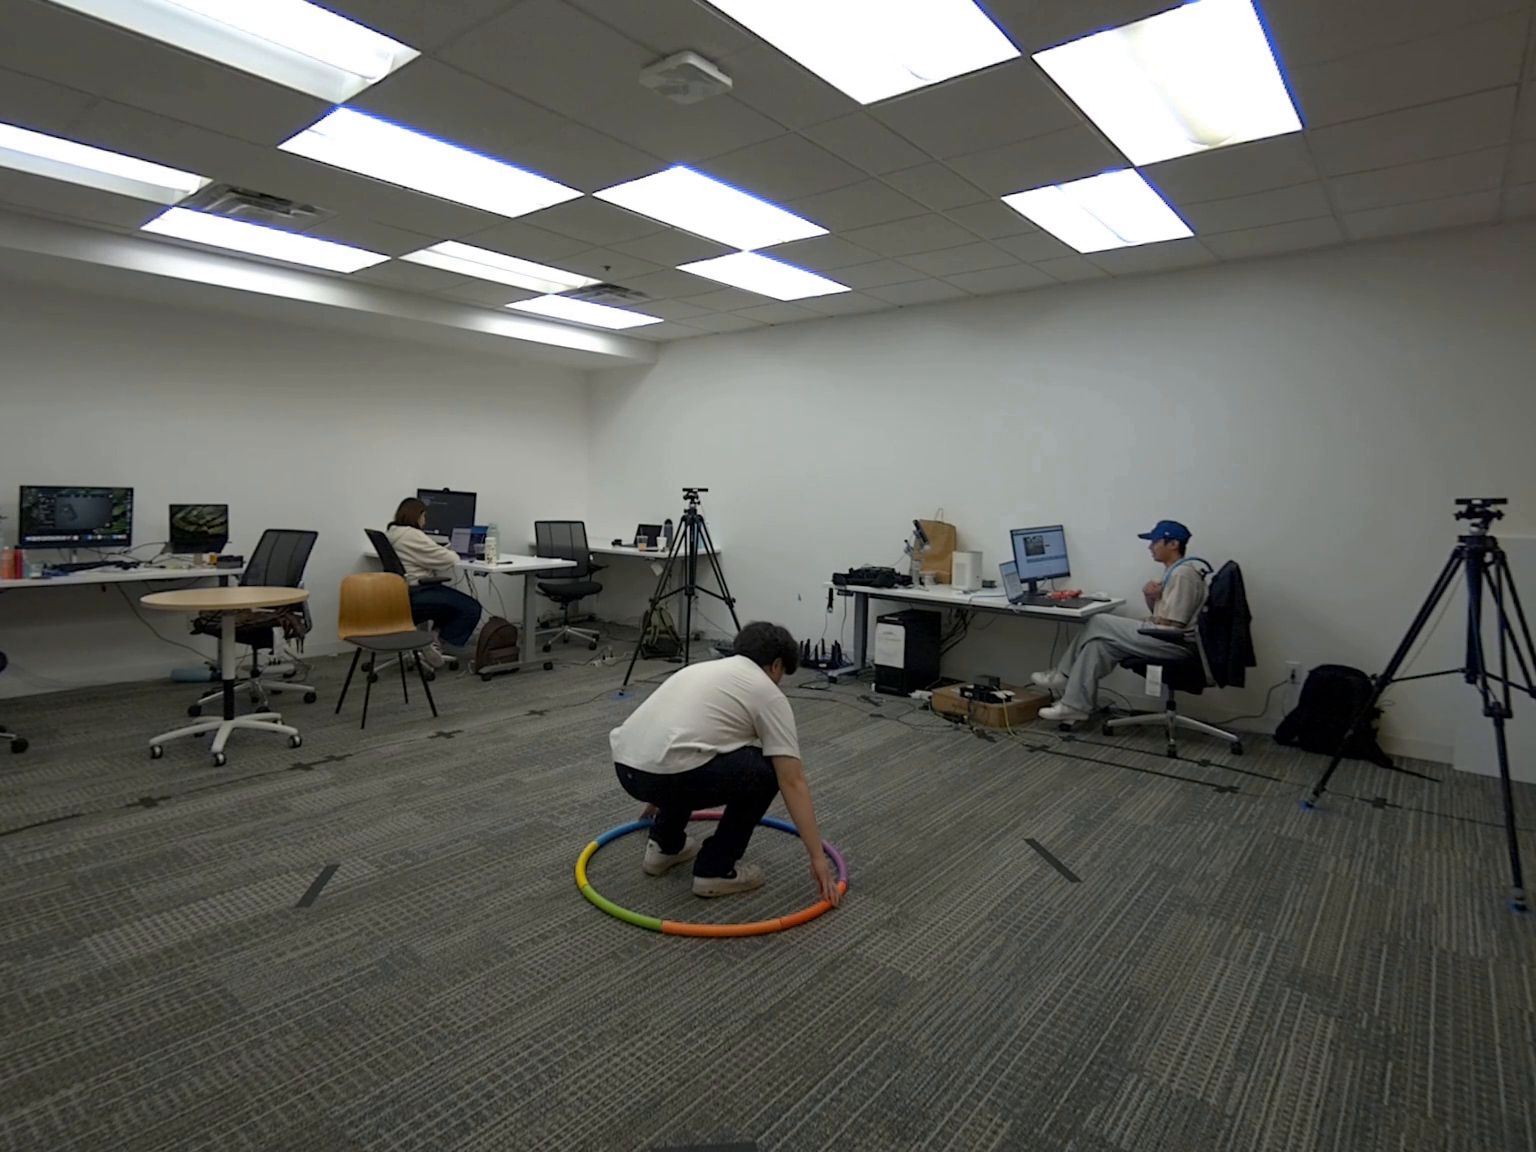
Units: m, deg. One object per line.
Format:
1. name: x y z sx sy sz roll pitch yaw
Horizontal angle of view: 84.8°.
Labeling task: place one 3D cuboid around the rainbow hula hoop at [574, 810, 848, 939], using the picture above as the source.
1. rainbow hula hoop: -0.214 1.040 3.106 0.984 0.051 0.991 0 6 -2
